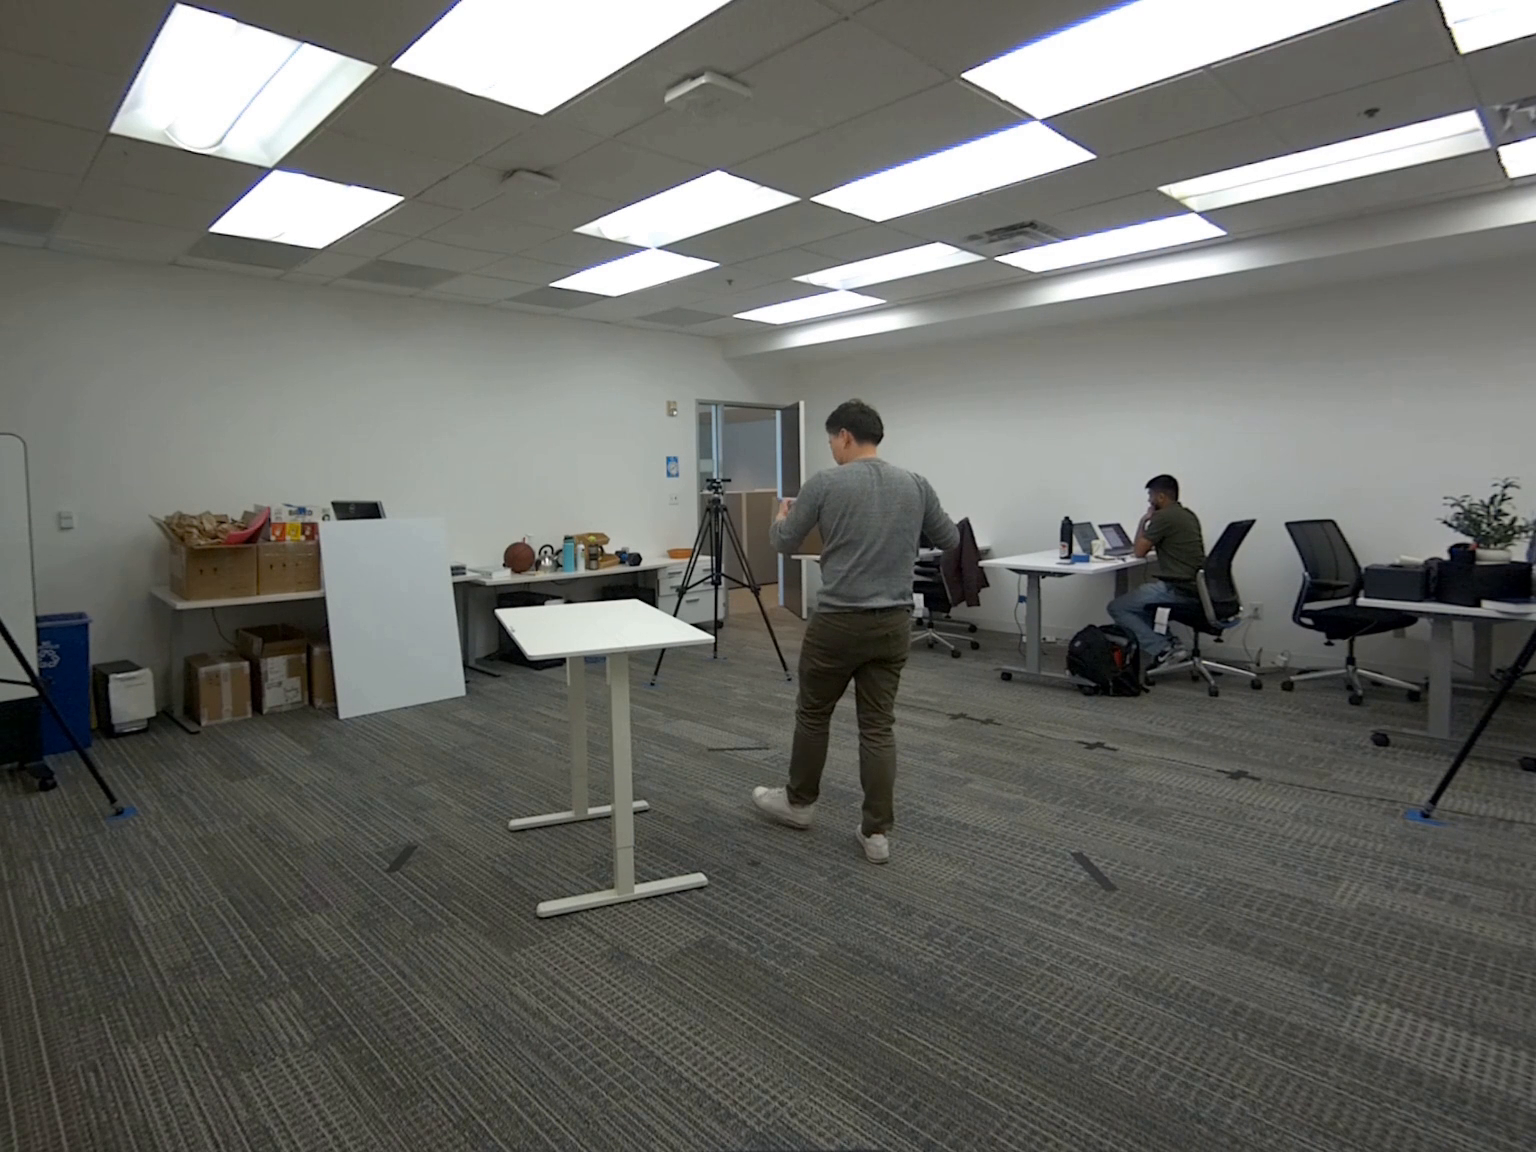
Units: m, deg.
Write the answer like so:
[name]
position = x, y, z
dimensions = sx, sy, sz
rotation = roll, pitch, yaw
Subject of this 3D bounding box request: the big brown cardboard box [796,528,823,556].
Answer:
[big brown cardboard box]
position = 0.329, -0.209, 3.705
dimensions = 0.585, 0.232, 0.422
rotation = 0, 7, -7
